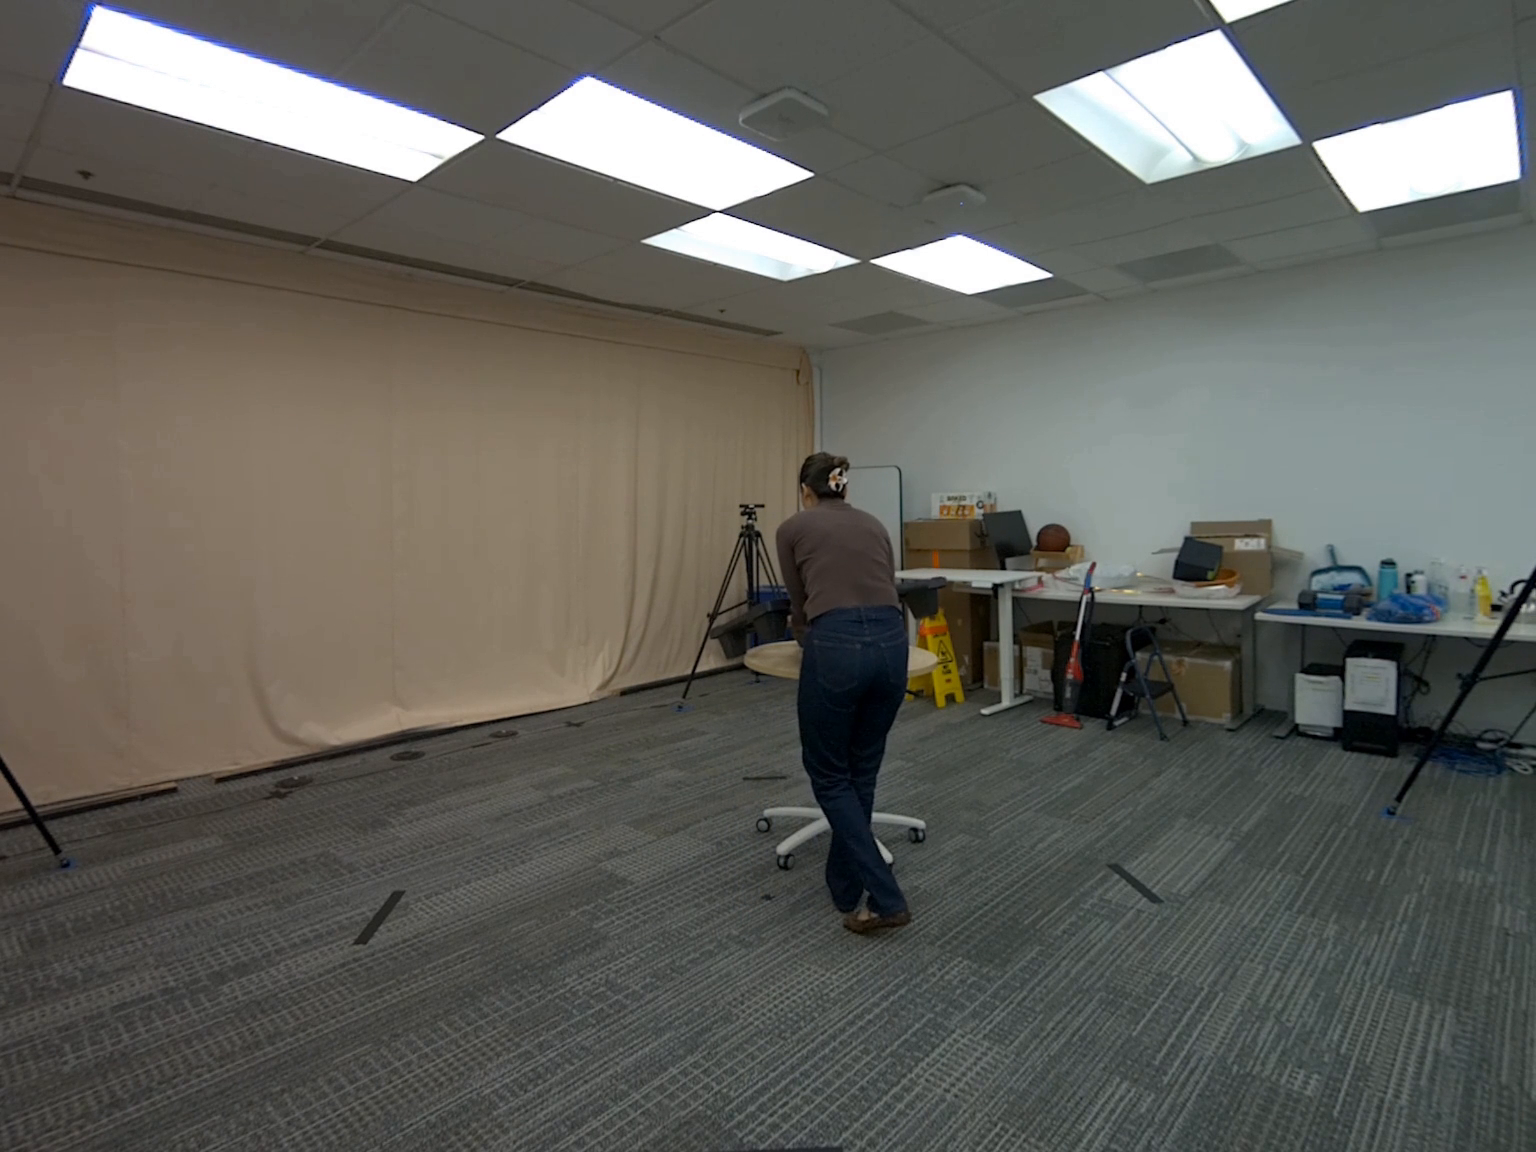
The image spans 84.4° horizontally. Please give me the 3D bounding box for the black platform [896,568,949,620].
[{"bbox_3d":[0.228,0.179,3.380,0.788,0.145,0.613,-6,-11,-24],"label":"black platform"}]
